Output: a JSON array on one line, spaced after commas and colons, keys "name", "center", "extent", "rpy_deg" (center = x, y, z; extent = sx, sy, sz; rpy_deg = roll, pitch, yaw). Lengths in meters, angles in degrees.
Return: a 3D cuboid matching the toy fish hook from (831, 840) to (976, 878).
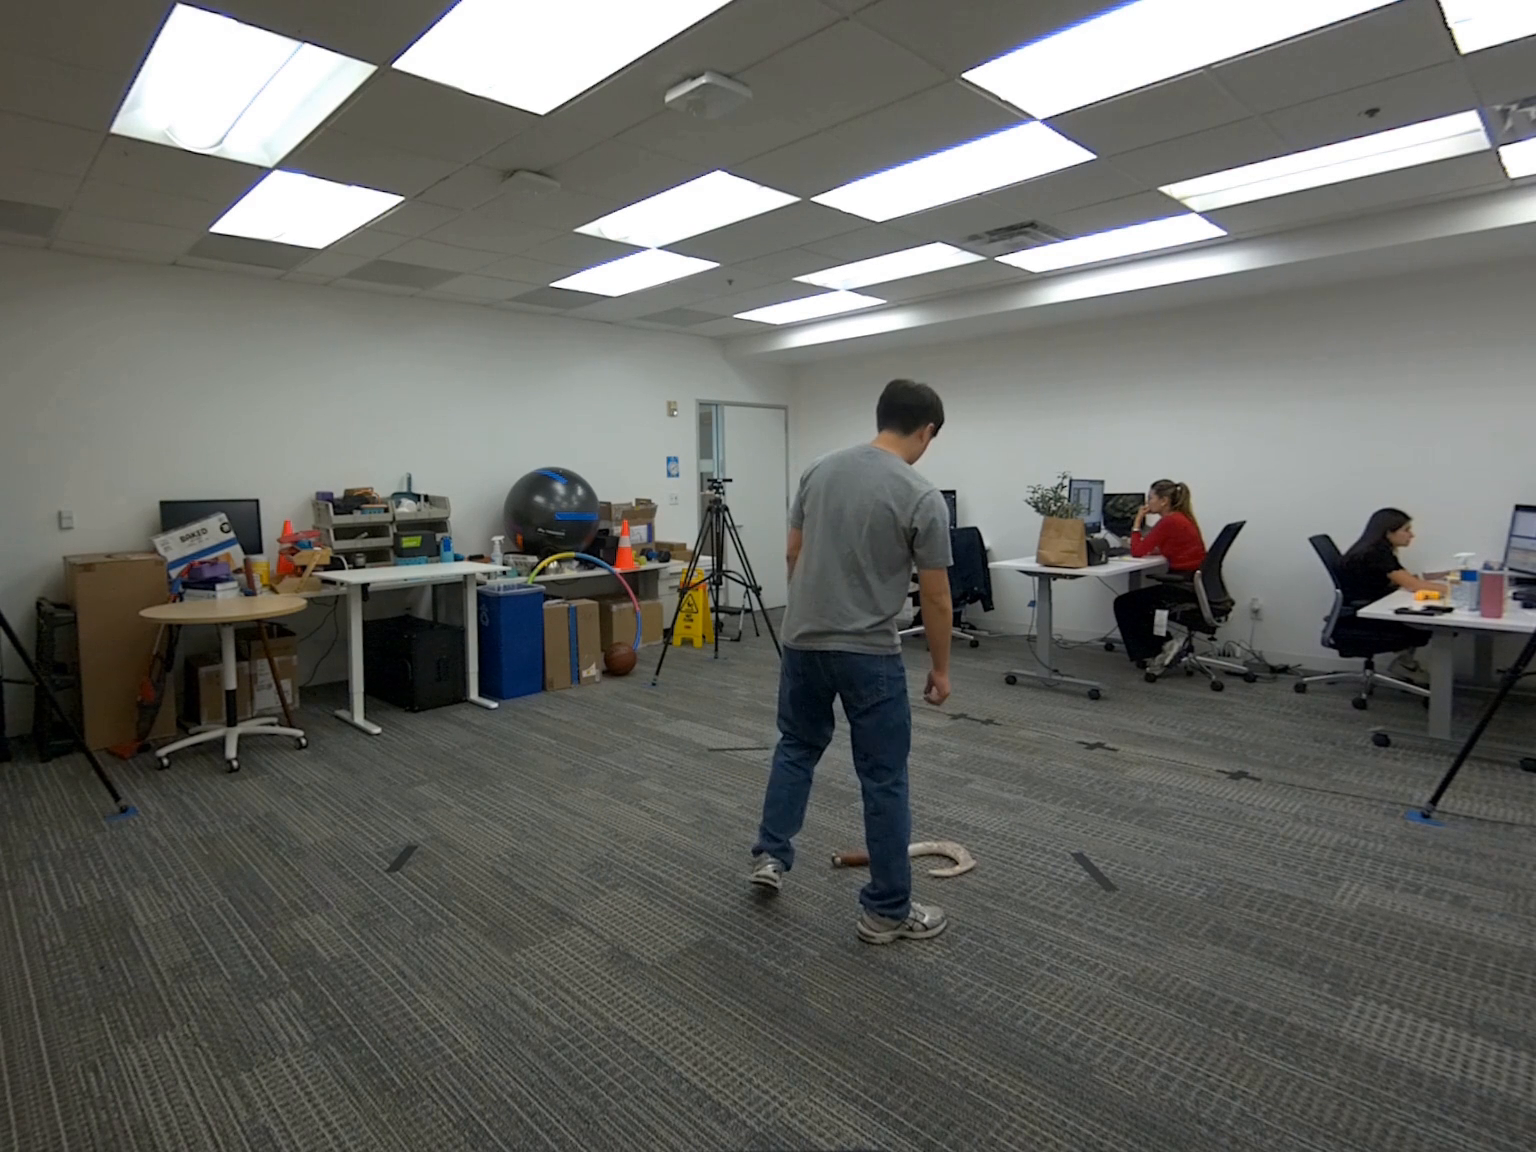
[{"name": "toy fish hook", "center": [0.486, 1.015, 3.054], "extent": [0.502, 0.048, 0.227], "rpy_deg": [-2, 5, -9]}]
